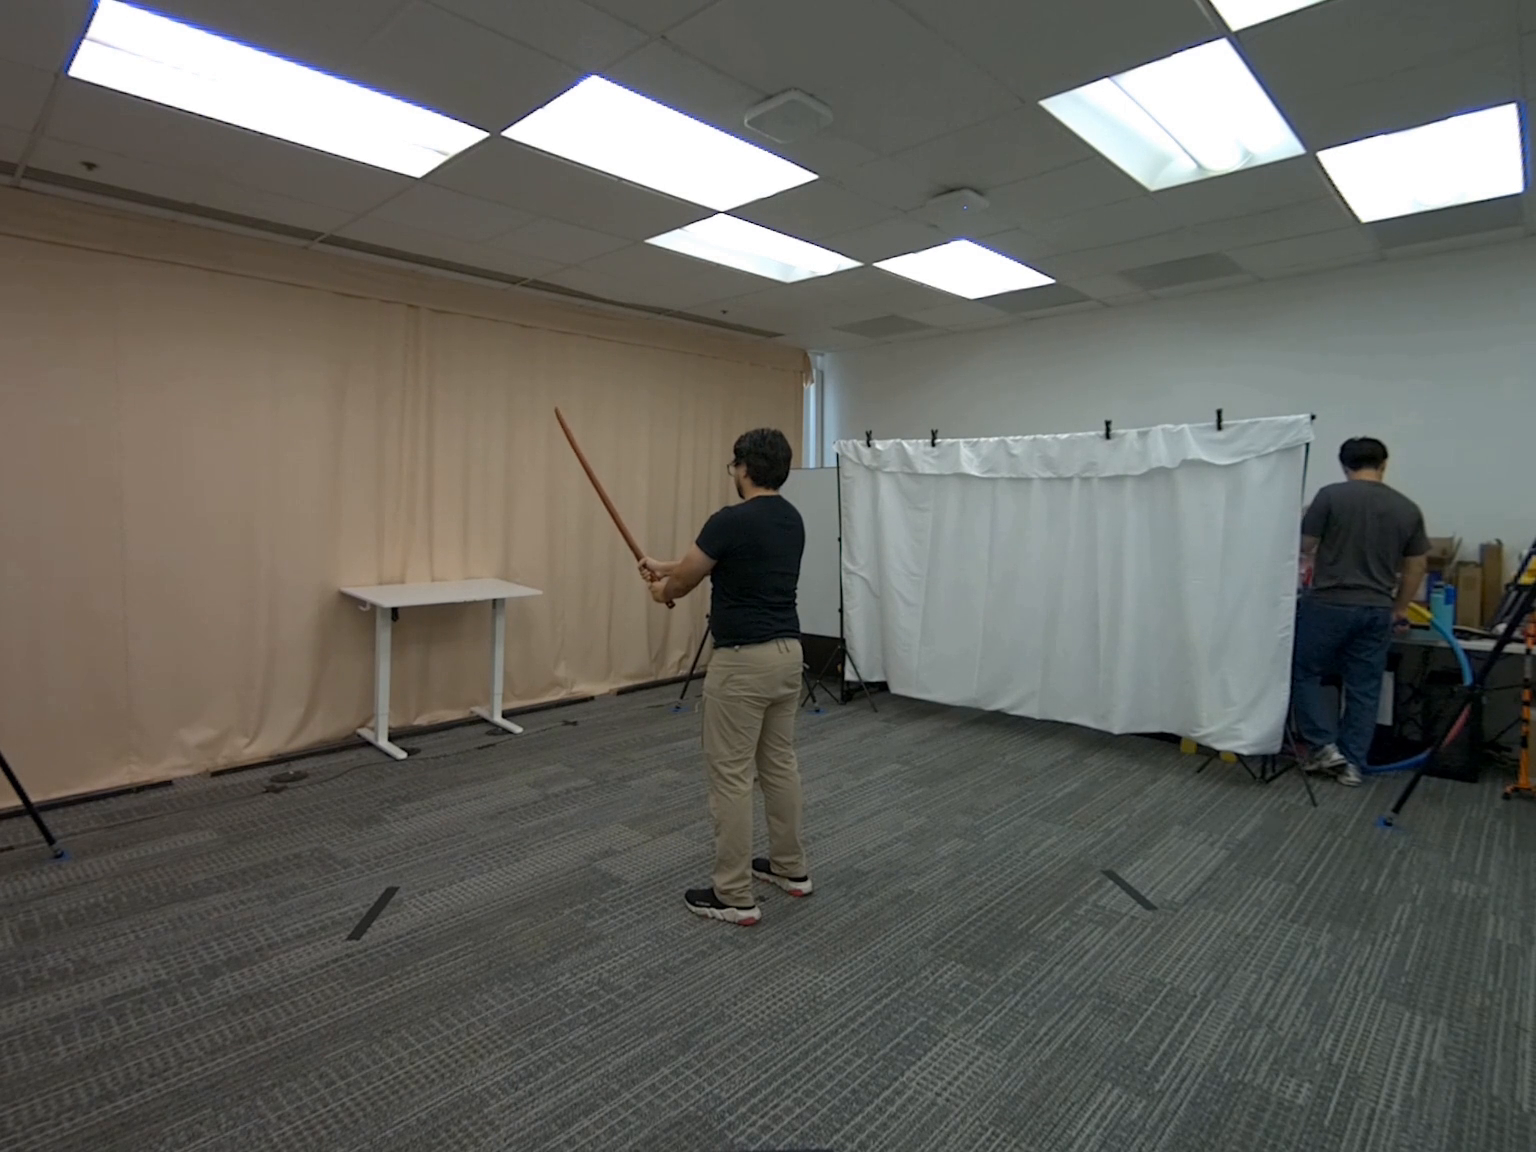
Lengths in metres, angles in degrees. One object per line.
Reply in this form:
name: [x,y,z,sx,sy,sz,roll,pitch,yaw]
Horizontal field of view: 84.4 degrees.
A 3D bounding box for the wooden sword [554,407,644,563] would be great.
wooden sword: [-0.644,-0.303,3.415,0.024,1.046,0.050,-35,-19,5]
